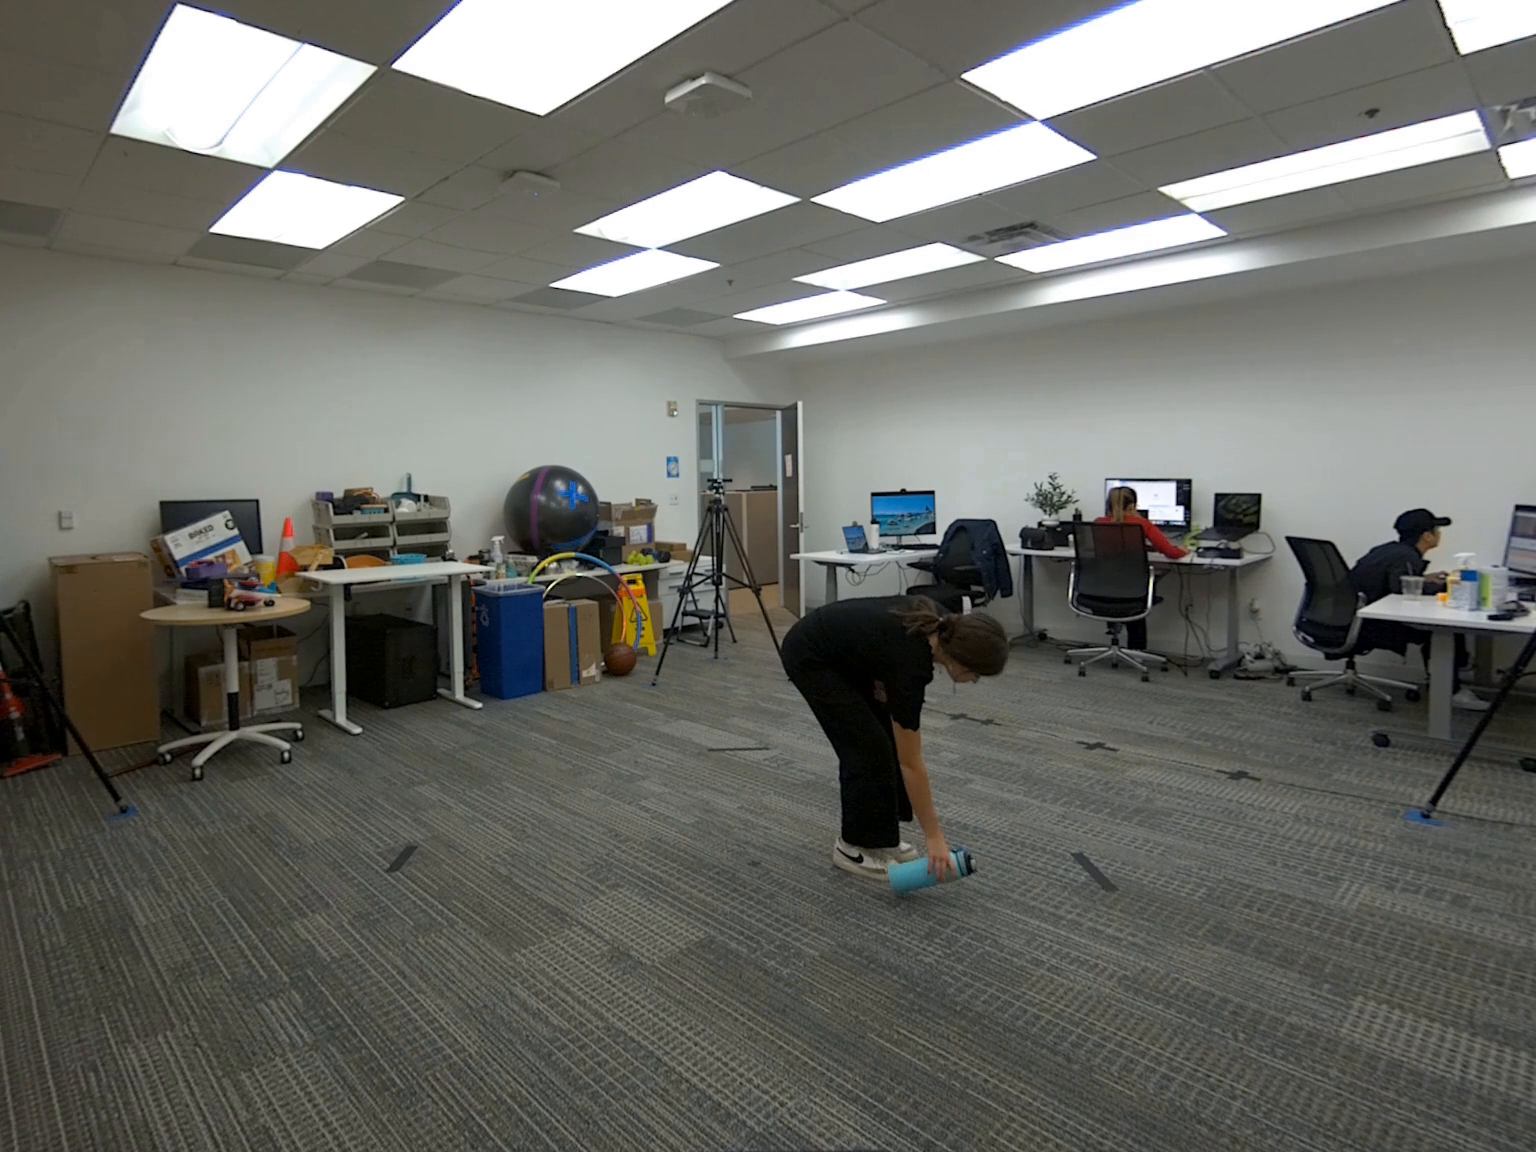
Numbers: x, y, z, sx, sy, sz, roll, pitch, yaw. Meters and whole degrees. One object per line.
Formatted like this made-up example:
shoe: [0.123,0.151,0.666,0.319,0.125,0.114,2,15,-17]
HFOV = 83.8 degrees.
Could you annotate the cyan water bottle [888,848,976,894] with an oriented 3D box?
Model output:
cyan water bottle: [0.548,0.964,2.809,0.285,0.092,0.091,-20,1,12]
